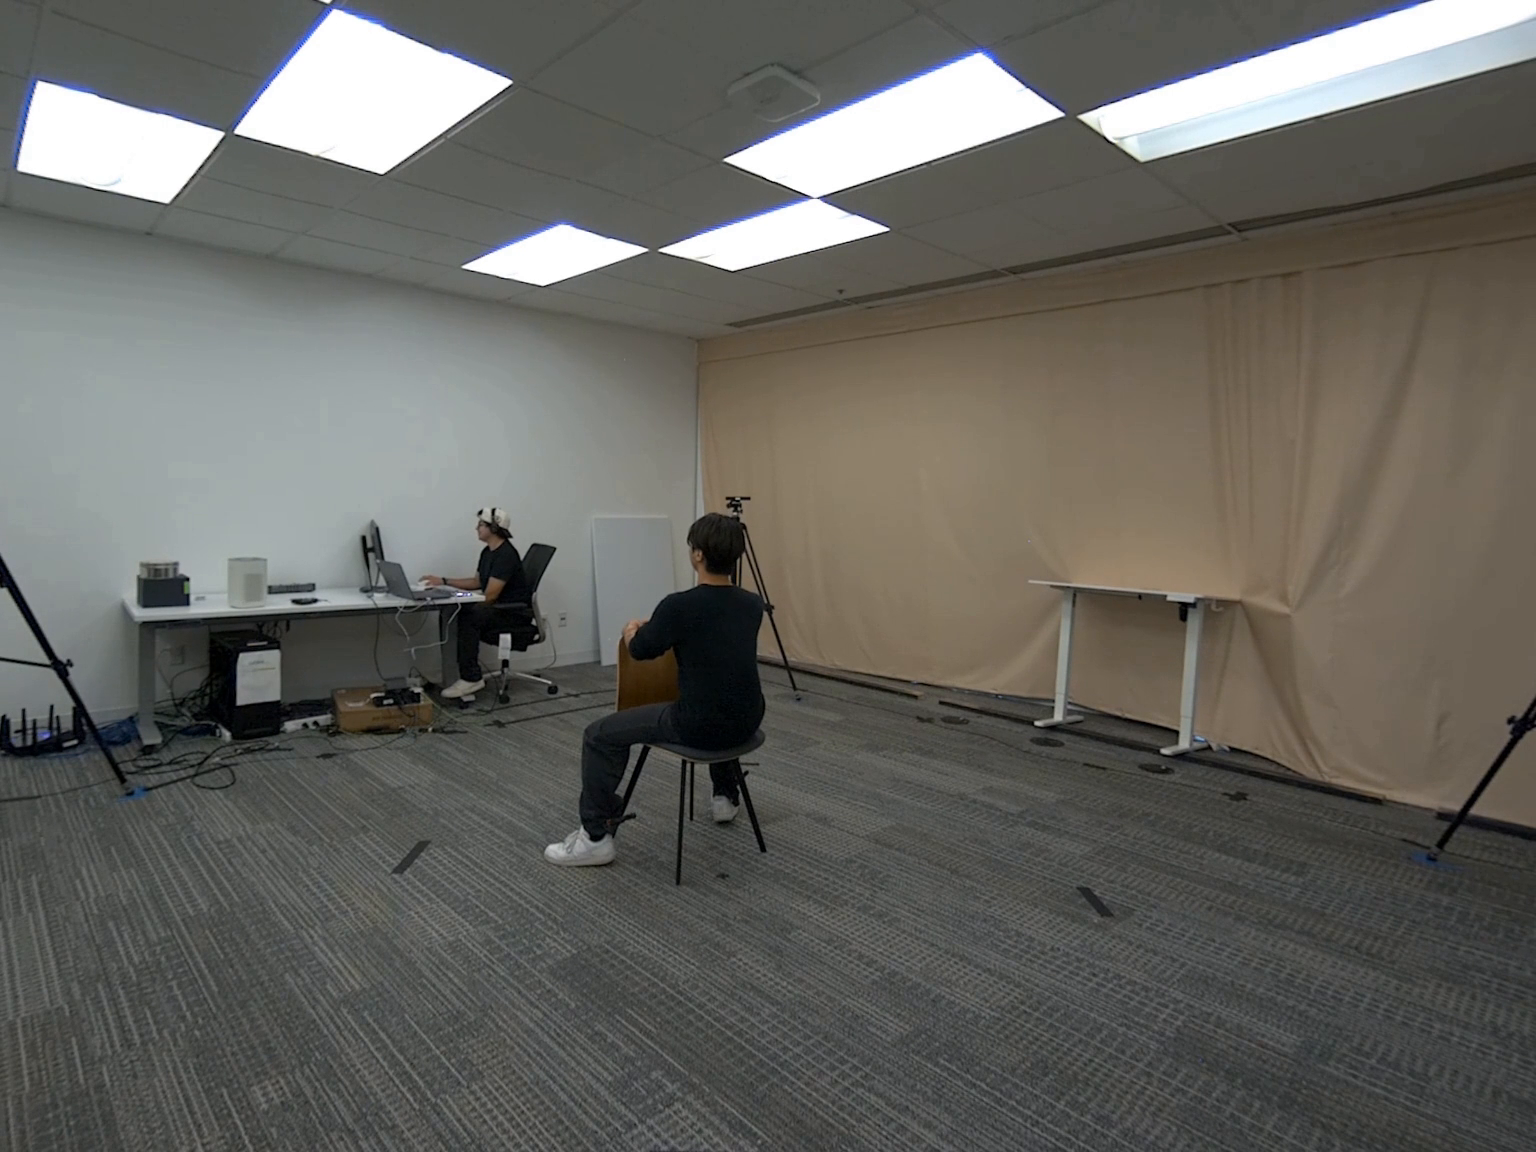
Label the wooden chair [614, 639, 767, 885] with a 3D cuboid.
[{"bbox_3d":[-0.306,0.655,3.293,0.467,0.877,0.535,-2,1,-43],"label":"wooden chair"}]
